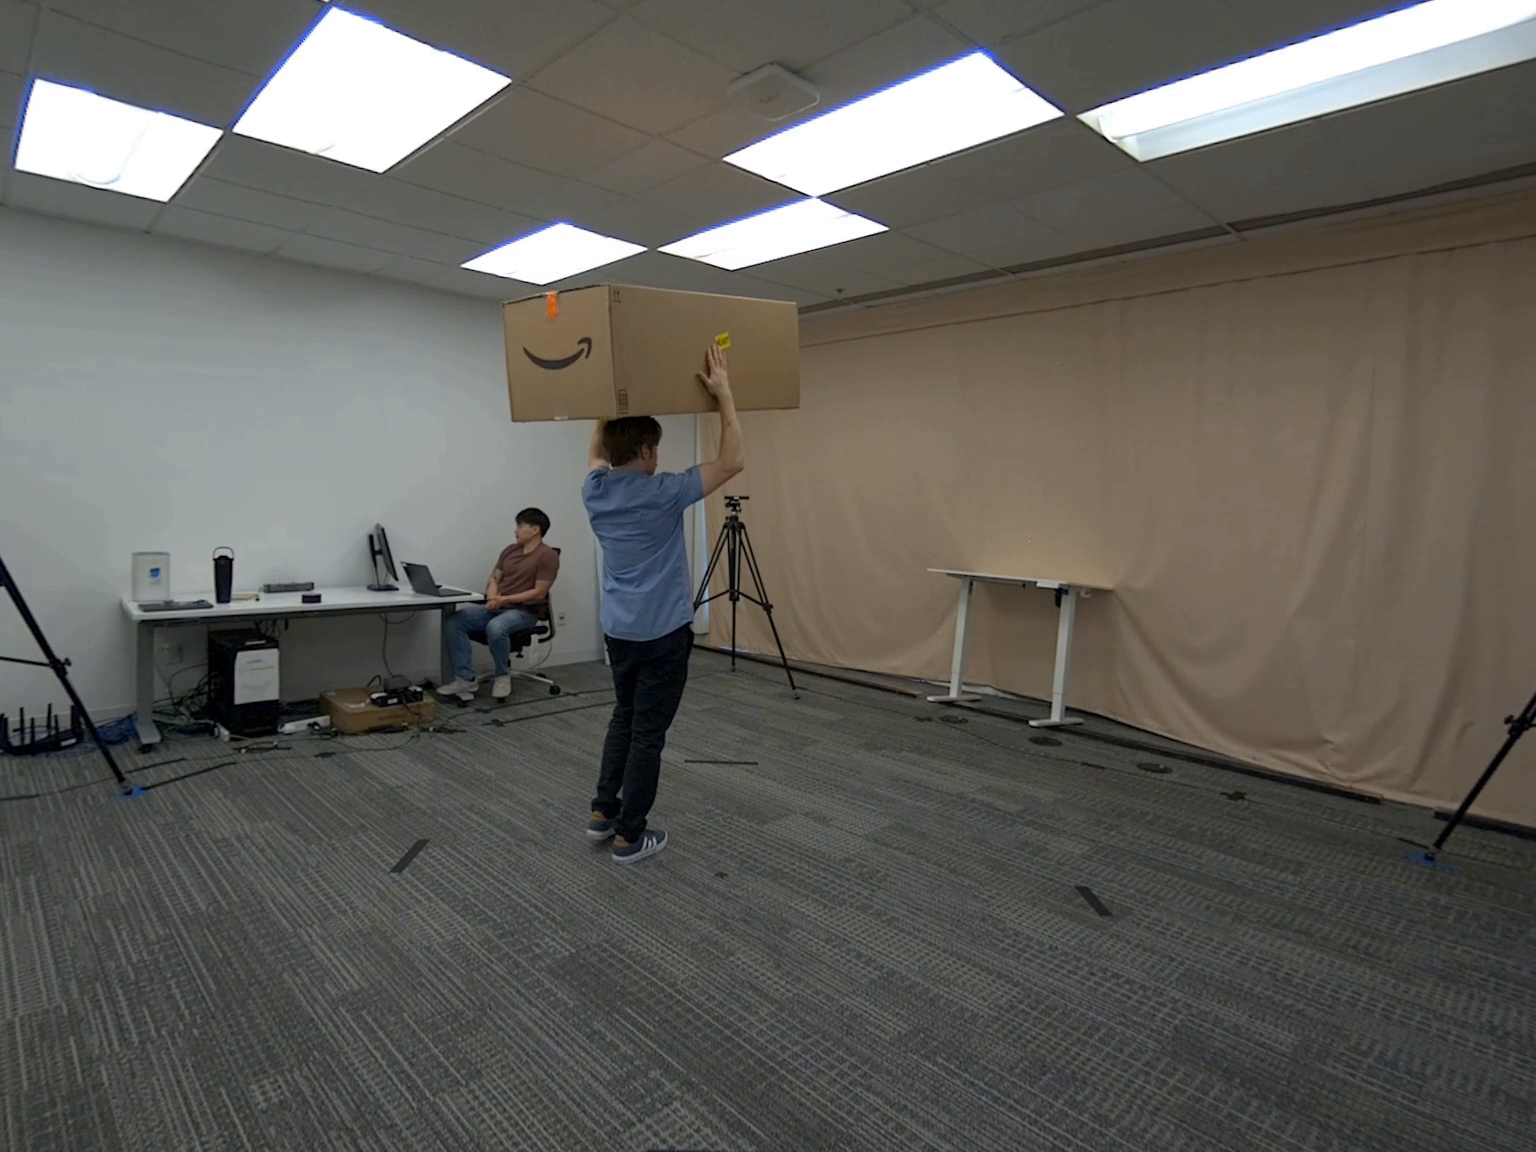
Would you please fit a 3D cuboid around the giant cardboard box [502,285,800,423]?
[{"bbox_3d":[-0.415,-0.832,3.236,0.592,0.423,1.008,6,14,38],"label":"giant cardboard box"}]
